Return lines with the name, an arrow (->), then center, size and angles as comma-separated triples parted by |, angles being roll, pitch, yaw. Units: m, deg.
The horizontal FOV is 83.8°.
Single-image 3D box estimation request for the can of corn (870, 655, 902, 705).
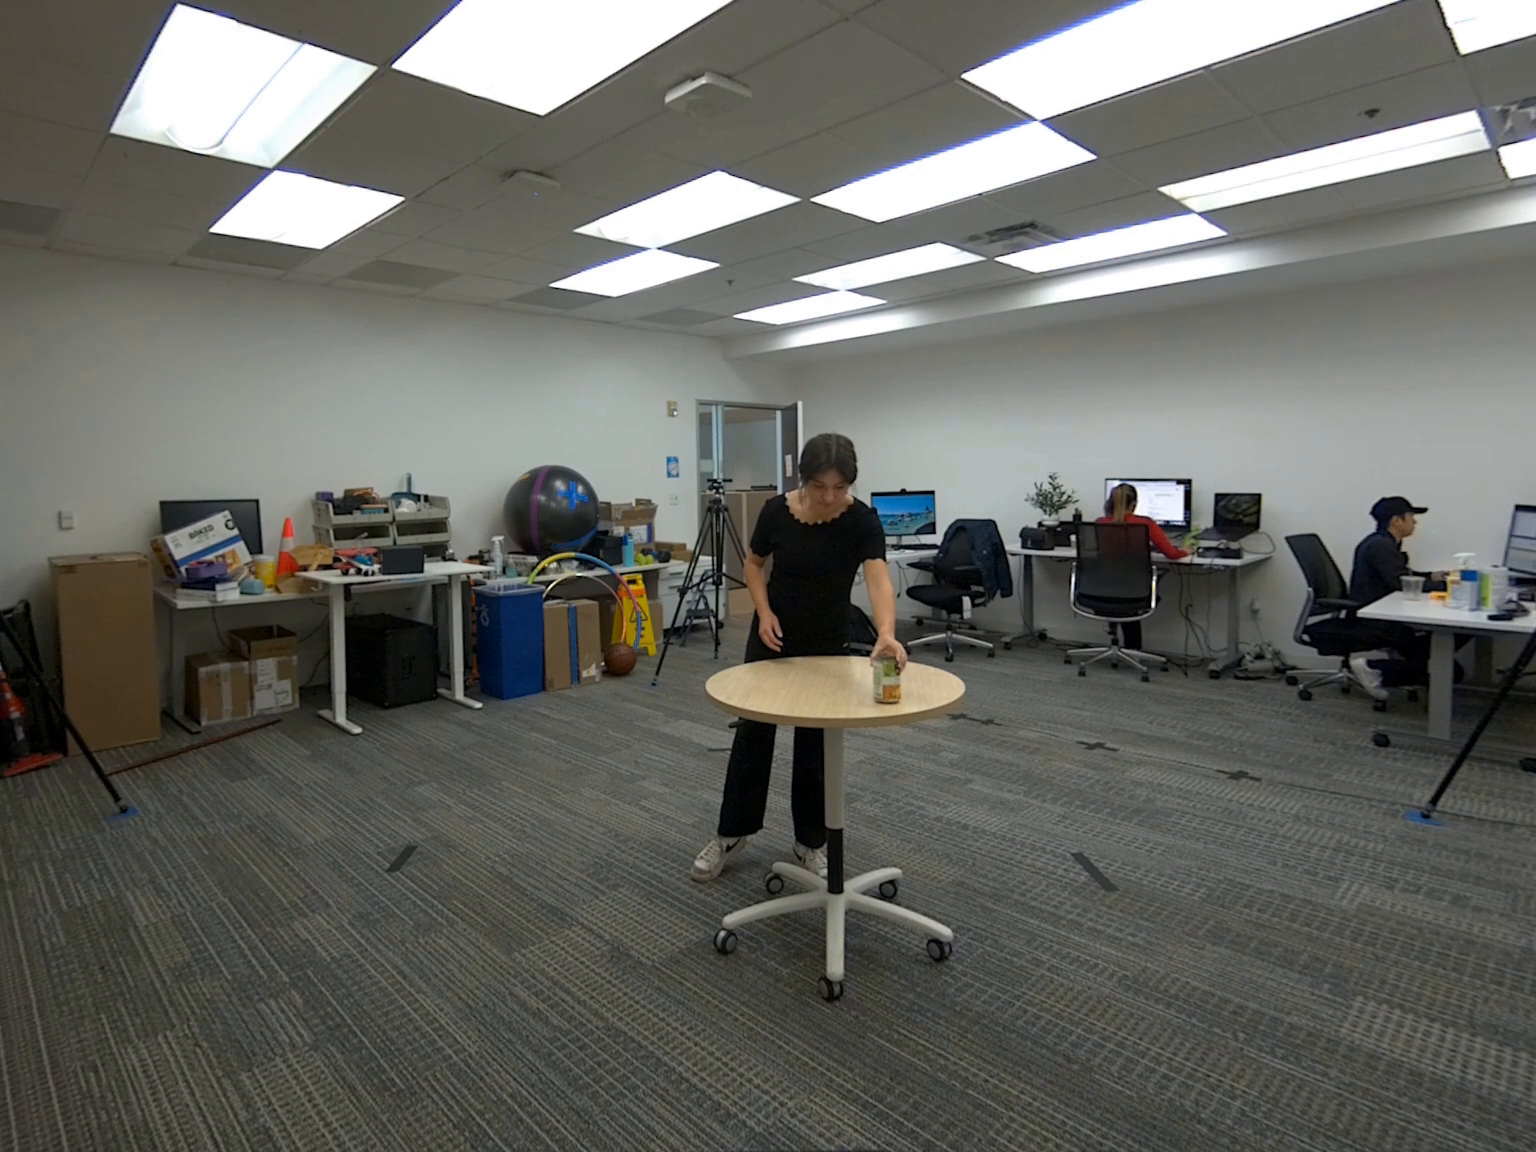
can of corn -> 0.327, 0.280, 2.327 | 0.074, 0.111, 0.074 | -6, 3, -1
